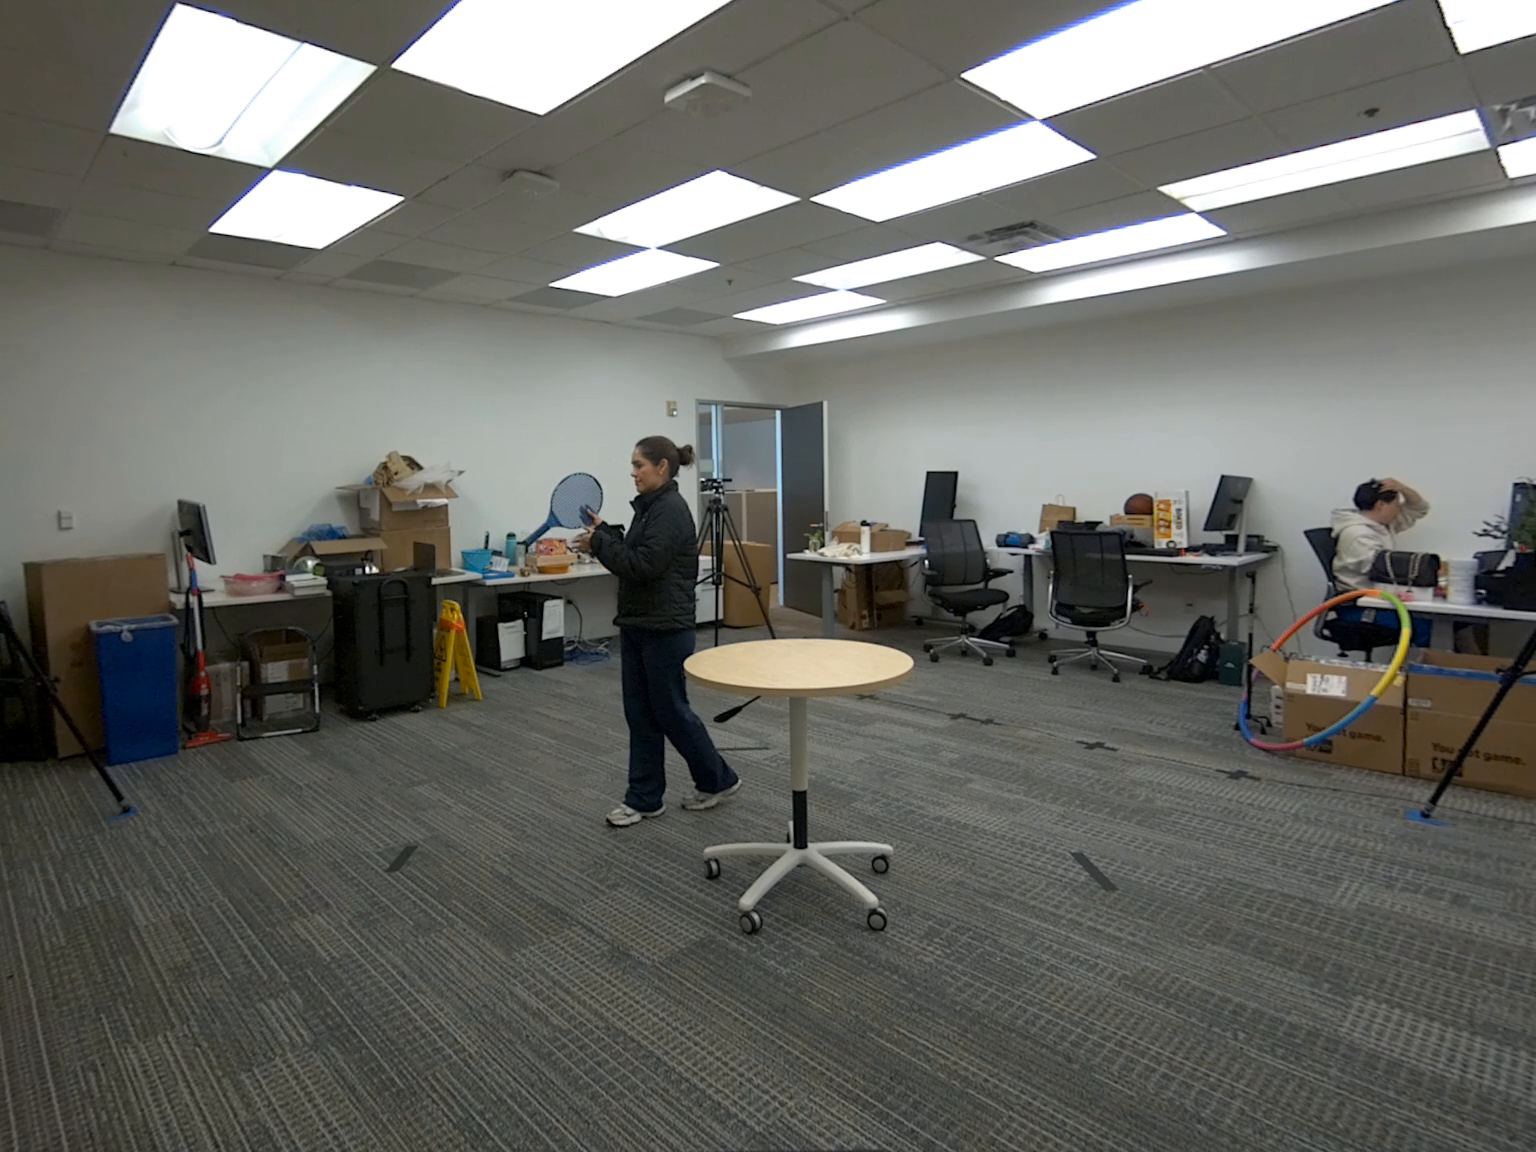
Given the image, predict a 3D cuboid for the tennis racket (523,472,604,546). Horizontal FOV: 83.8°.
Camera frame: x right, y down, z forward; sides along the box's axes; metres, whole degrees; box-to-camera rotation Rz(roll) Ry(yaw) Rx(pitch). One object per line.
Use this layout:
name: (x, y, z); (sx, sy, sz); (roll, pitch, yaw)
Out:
tennis racket: (-0.825, -0.253, 3.458); (0.032, 0.208, 0.433); (-8, 30, 45)
